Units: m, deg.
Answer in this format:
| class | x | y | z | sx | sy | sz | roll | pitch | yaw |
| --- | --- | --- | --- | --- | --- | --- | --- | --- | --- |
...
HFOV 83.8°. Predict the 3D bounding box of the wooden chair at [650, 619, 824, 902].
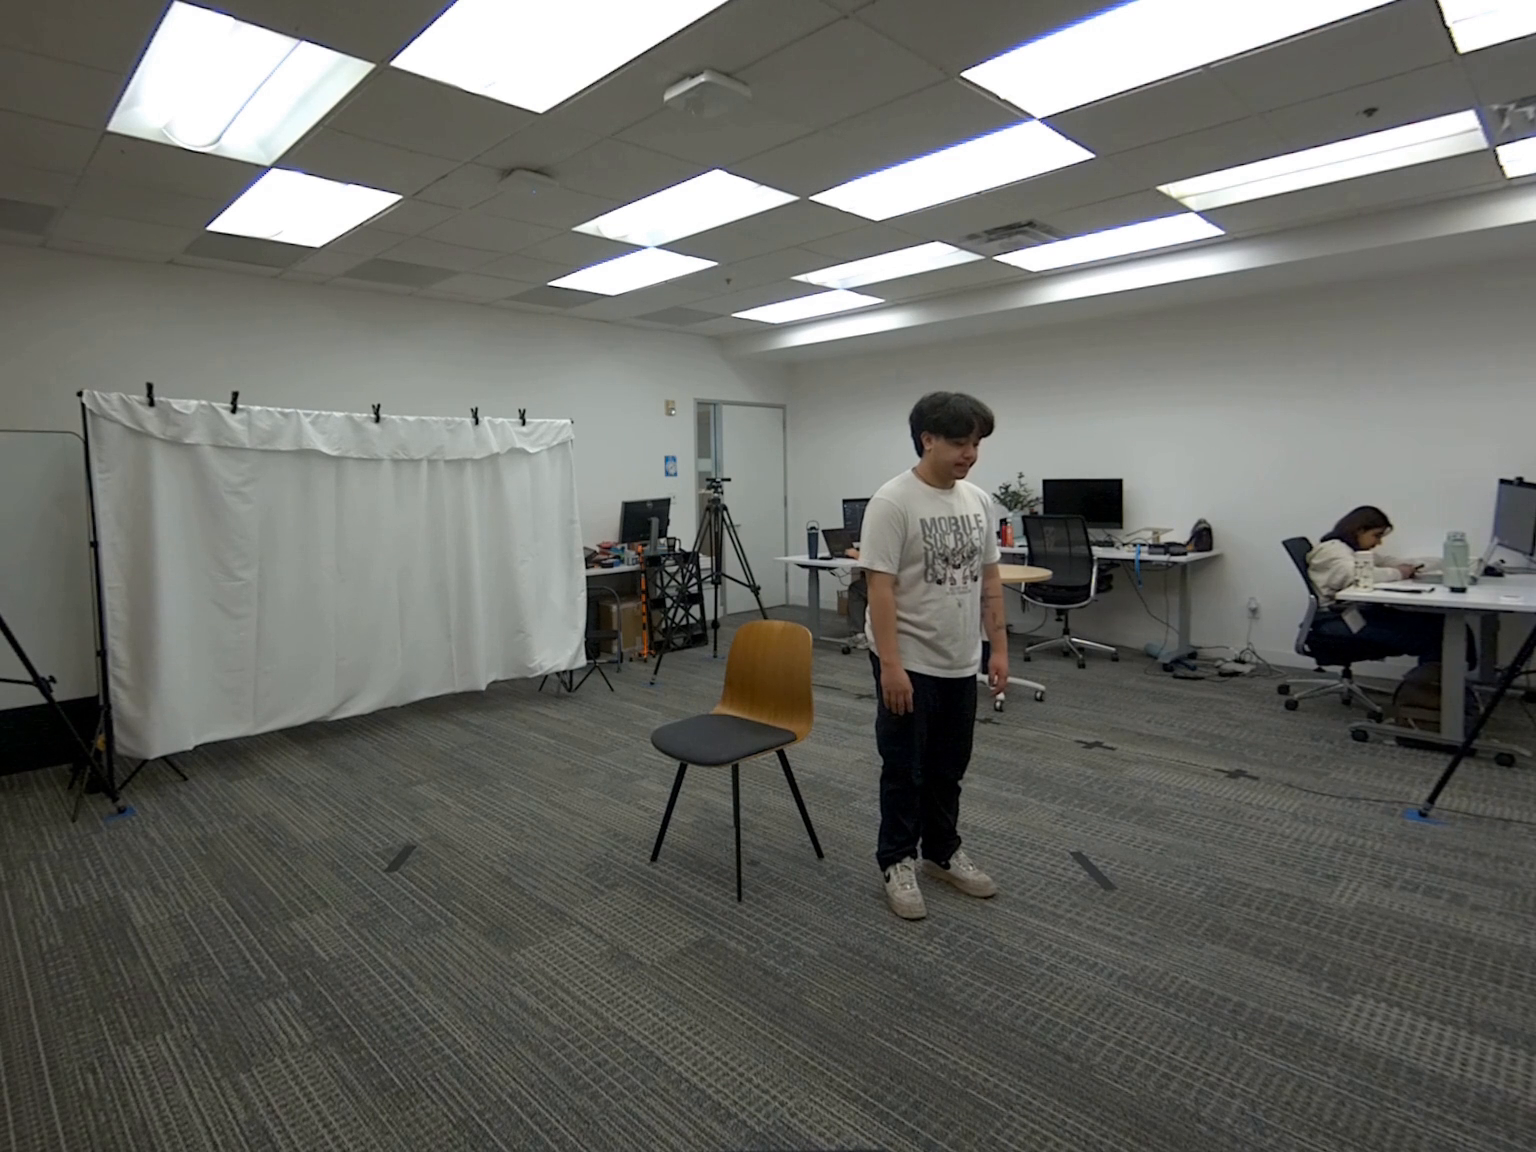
| class | x | y | z | sx | sy | sz | roll | pitch | yaw |
| --- | --- | --- | --- | --- | --- | --- | --- | --- | --- |
| wooden chair | -0.126 | 0.619 | 3.094 | 0.493 | 0.876 | 0.508 | 4 | 2 | 44 |
